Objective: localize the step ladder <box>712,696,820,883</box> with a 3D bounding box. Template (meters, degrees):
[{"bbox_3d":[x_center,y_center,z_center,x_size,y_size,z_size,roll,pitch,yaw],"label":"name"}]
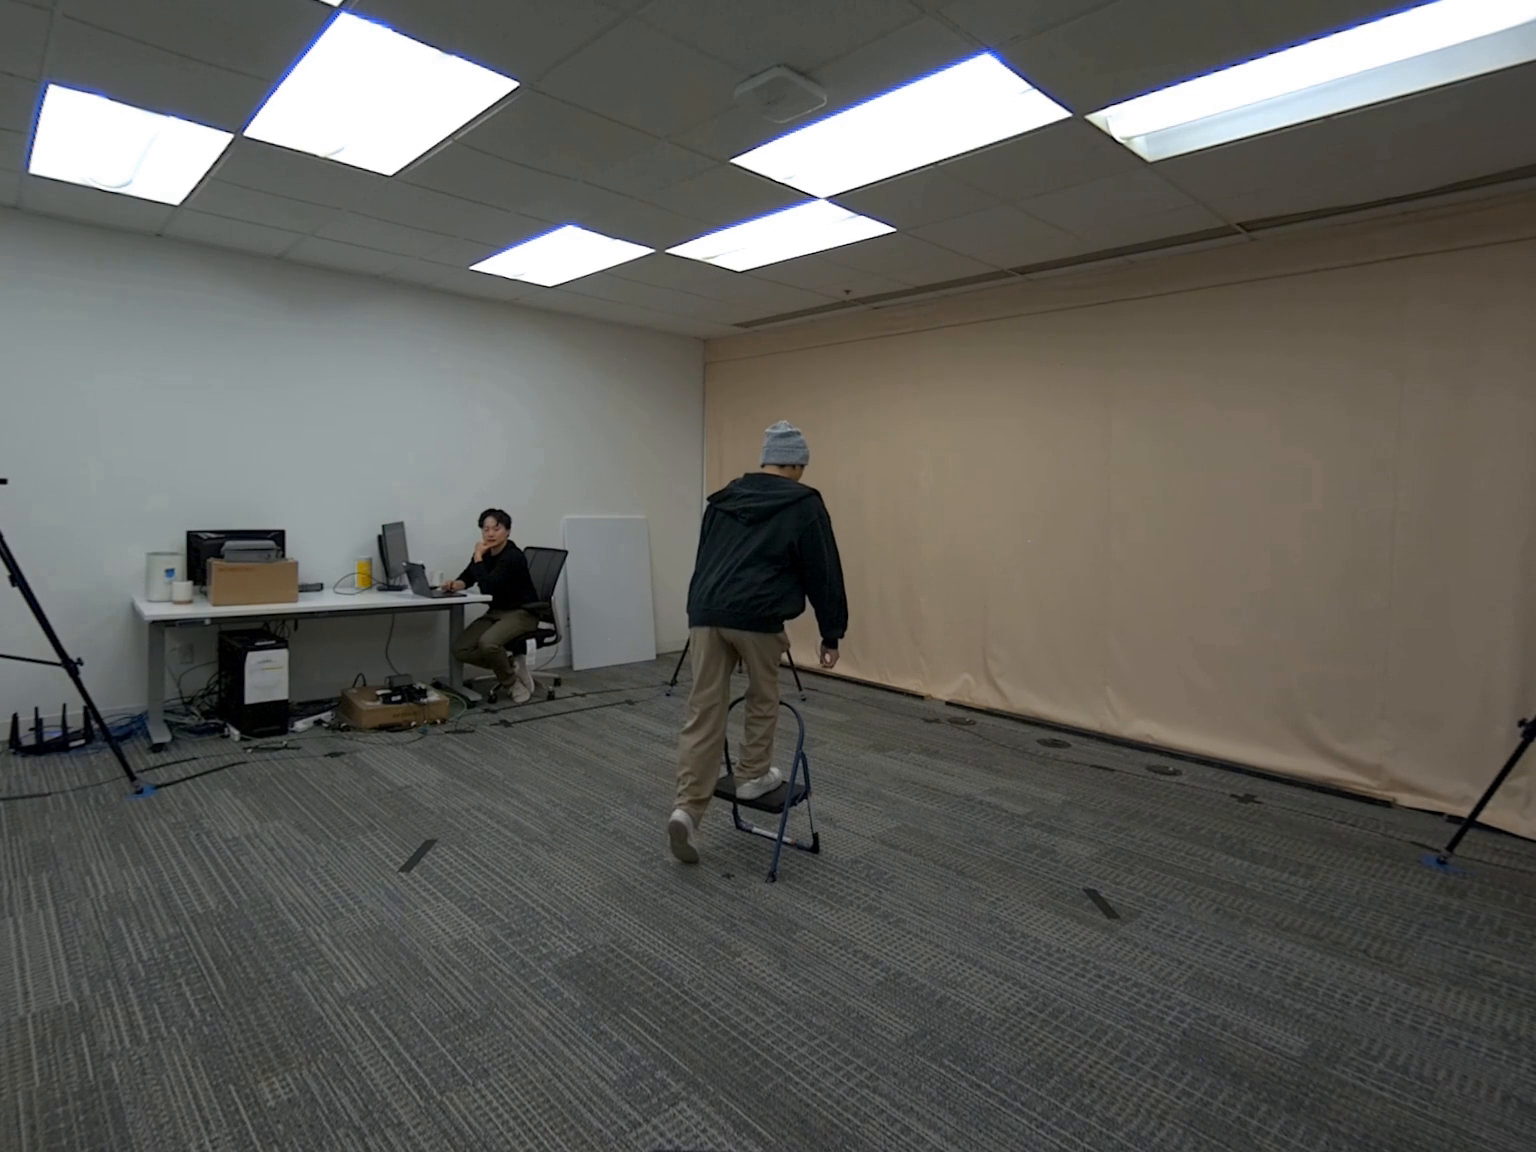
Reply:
[{"bbox_3d":[-0.053,0.792,3.309,0.441,0.604,0.342,5,5,36],"label":"step ladder"}]
